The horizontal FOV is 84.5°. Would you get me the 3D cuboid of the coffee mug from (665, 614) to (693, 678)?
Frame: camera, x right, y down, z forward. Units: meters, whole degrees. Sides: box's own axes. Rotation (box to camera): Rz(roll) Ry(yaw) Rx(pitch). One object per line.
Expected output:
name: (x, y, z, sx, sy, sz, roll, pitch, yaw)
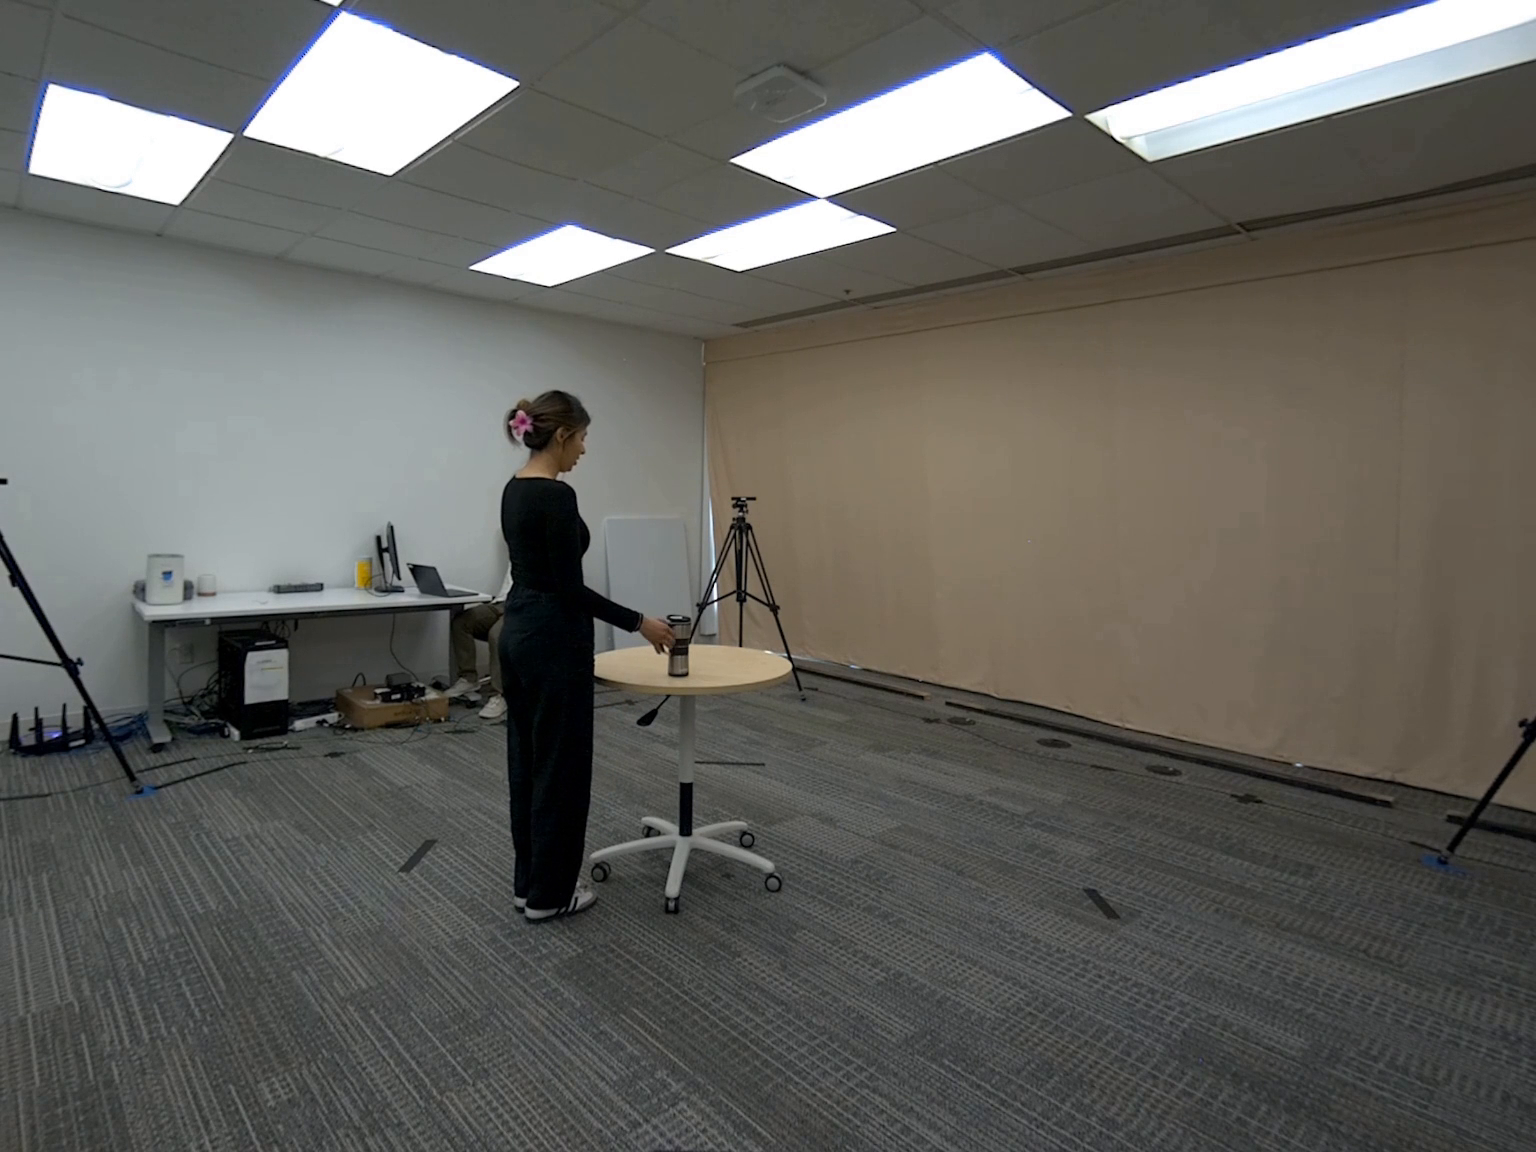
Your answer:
coffee mug: (-0.335, 0.242, 2.858, 0.119, 0.202, 0.090, 2, 6, -27)
